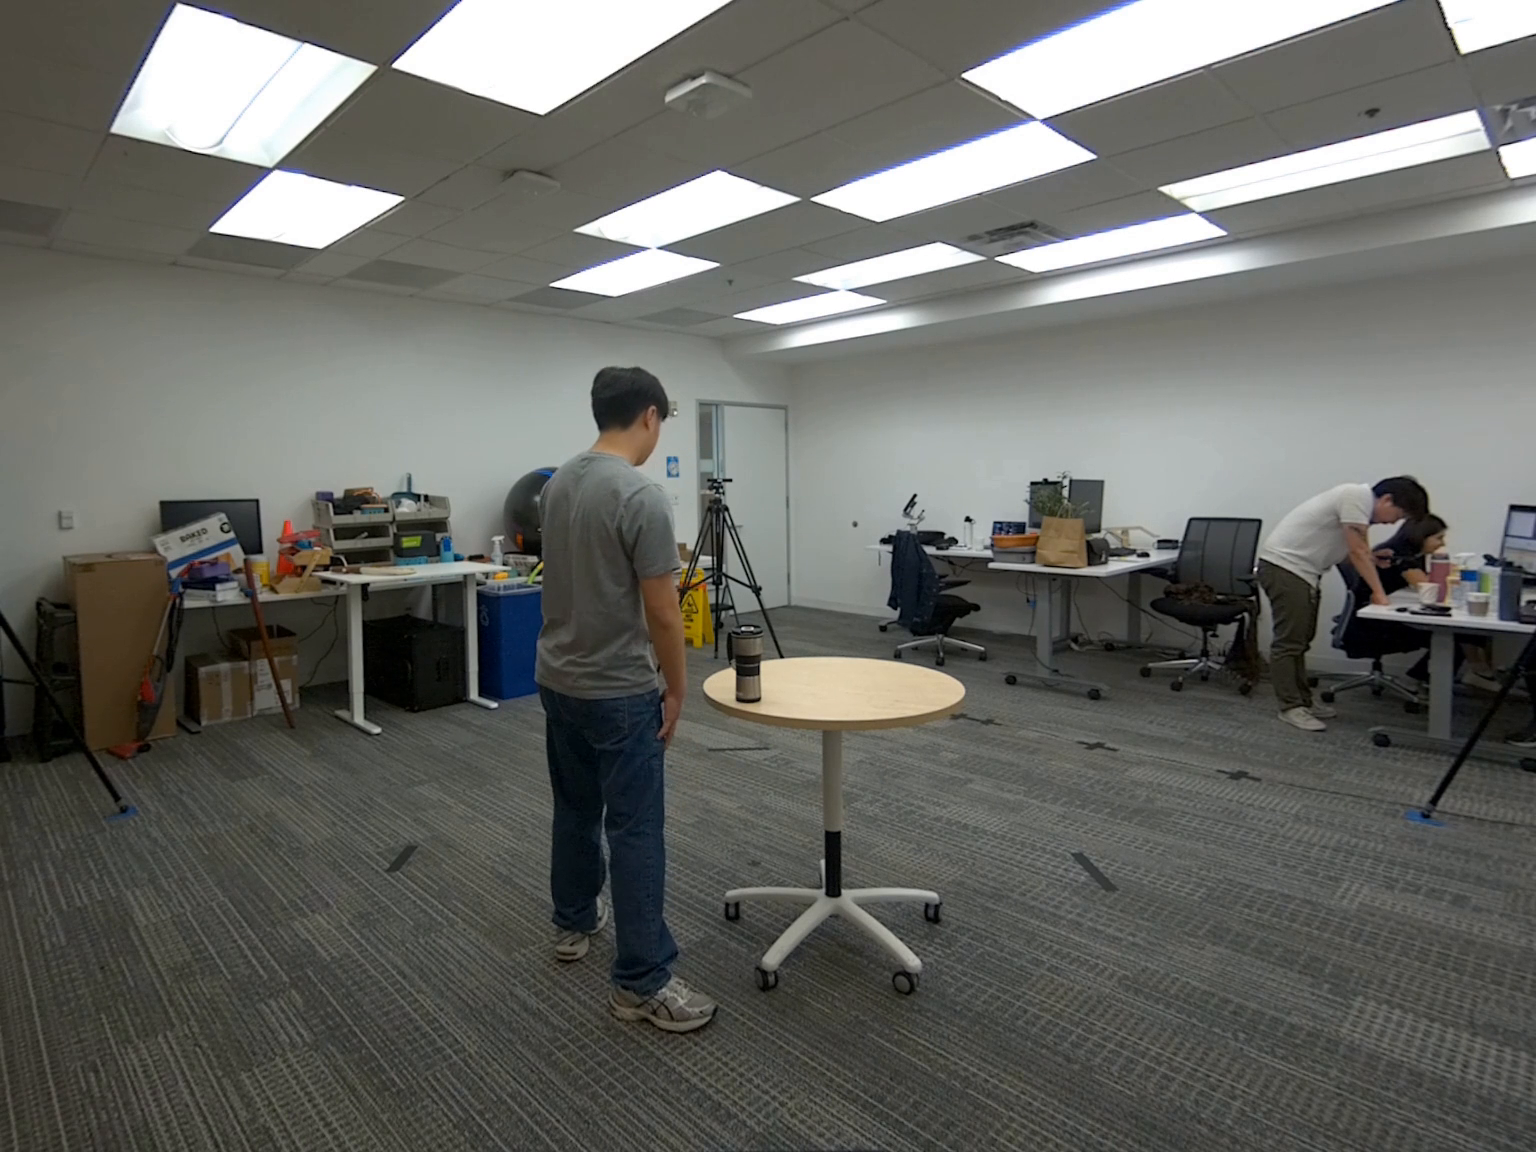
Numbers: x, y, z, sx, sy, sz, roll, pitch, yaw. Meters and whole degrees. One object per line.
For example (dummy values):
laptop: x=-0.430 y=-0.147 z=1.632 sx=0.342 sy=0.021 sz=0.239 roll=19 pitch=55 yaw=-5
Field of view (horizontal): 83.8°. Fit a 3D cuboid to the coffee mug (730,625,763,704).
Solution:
coffee mug: x=-0.062 y=0.245 z=2.375 sx=0.086 sy=0.201 sz=0.125 roll=-6 pitch=13 yaw=-22
